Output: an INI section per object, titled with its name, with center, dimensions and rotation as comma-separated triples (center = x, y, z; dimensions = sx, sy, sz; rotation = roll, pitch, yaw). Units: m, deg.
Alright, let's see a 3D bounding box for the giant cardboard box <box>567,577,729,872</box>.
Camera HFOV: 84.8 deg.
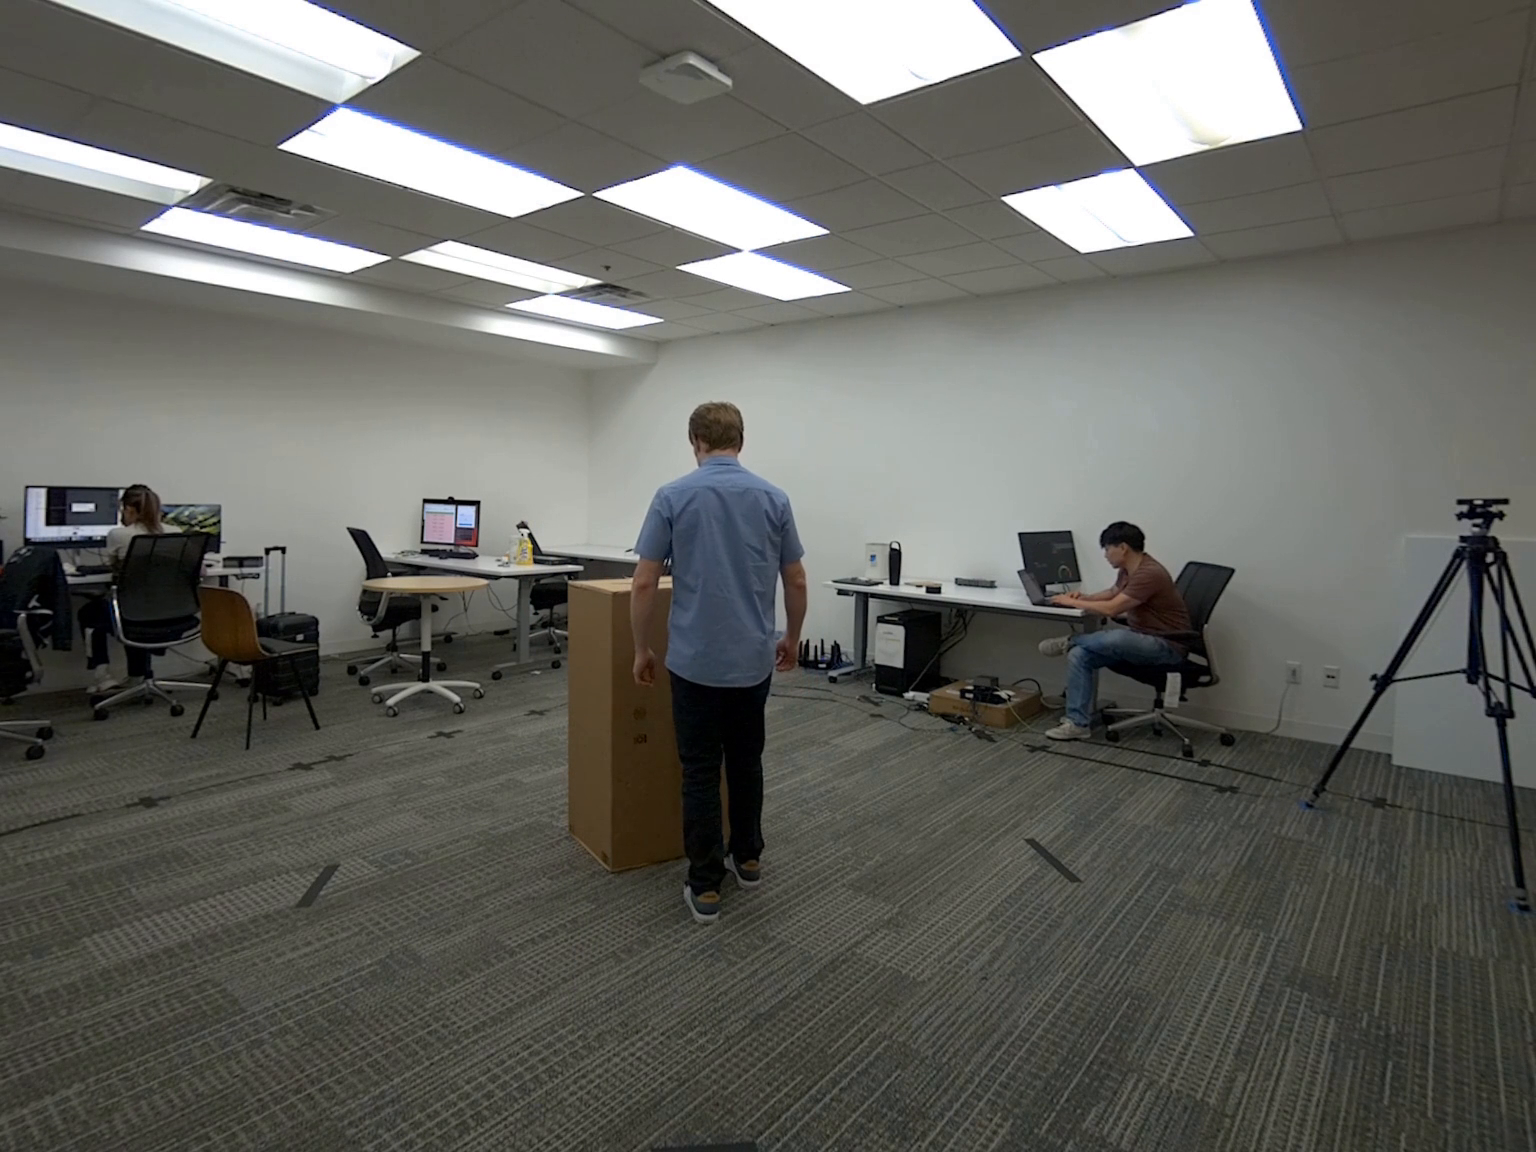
[giant cardboard box]
center = -0.460, 0.530, 3.359
dimensions = 0.561, 1.023, 0.440
rotation = -1, 4, -33
